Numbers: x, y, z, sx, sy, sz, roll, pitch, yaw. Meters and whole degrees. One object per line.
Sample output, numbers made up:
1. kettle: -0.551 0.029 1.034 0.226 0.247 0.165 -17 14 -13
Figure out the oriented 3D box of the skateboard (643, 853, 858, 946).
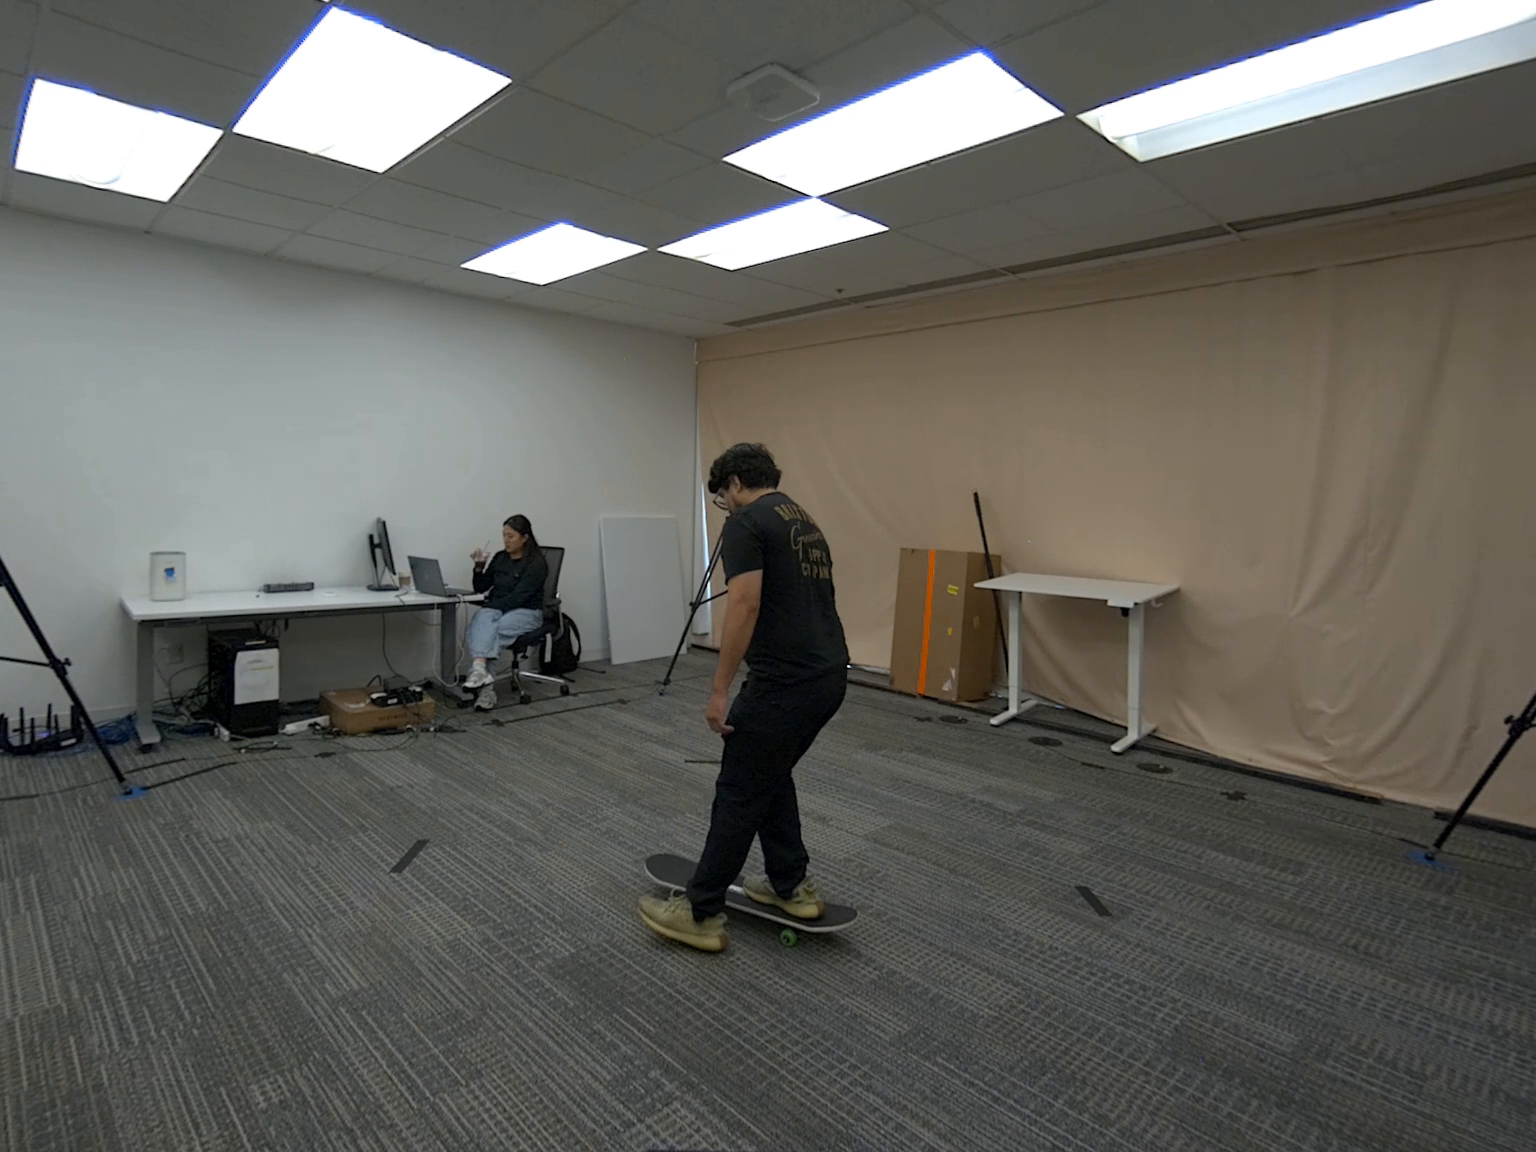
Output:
1. skateboard: -0.086 1.083 2.786 0.803 0.110 0.190 5 5 30
